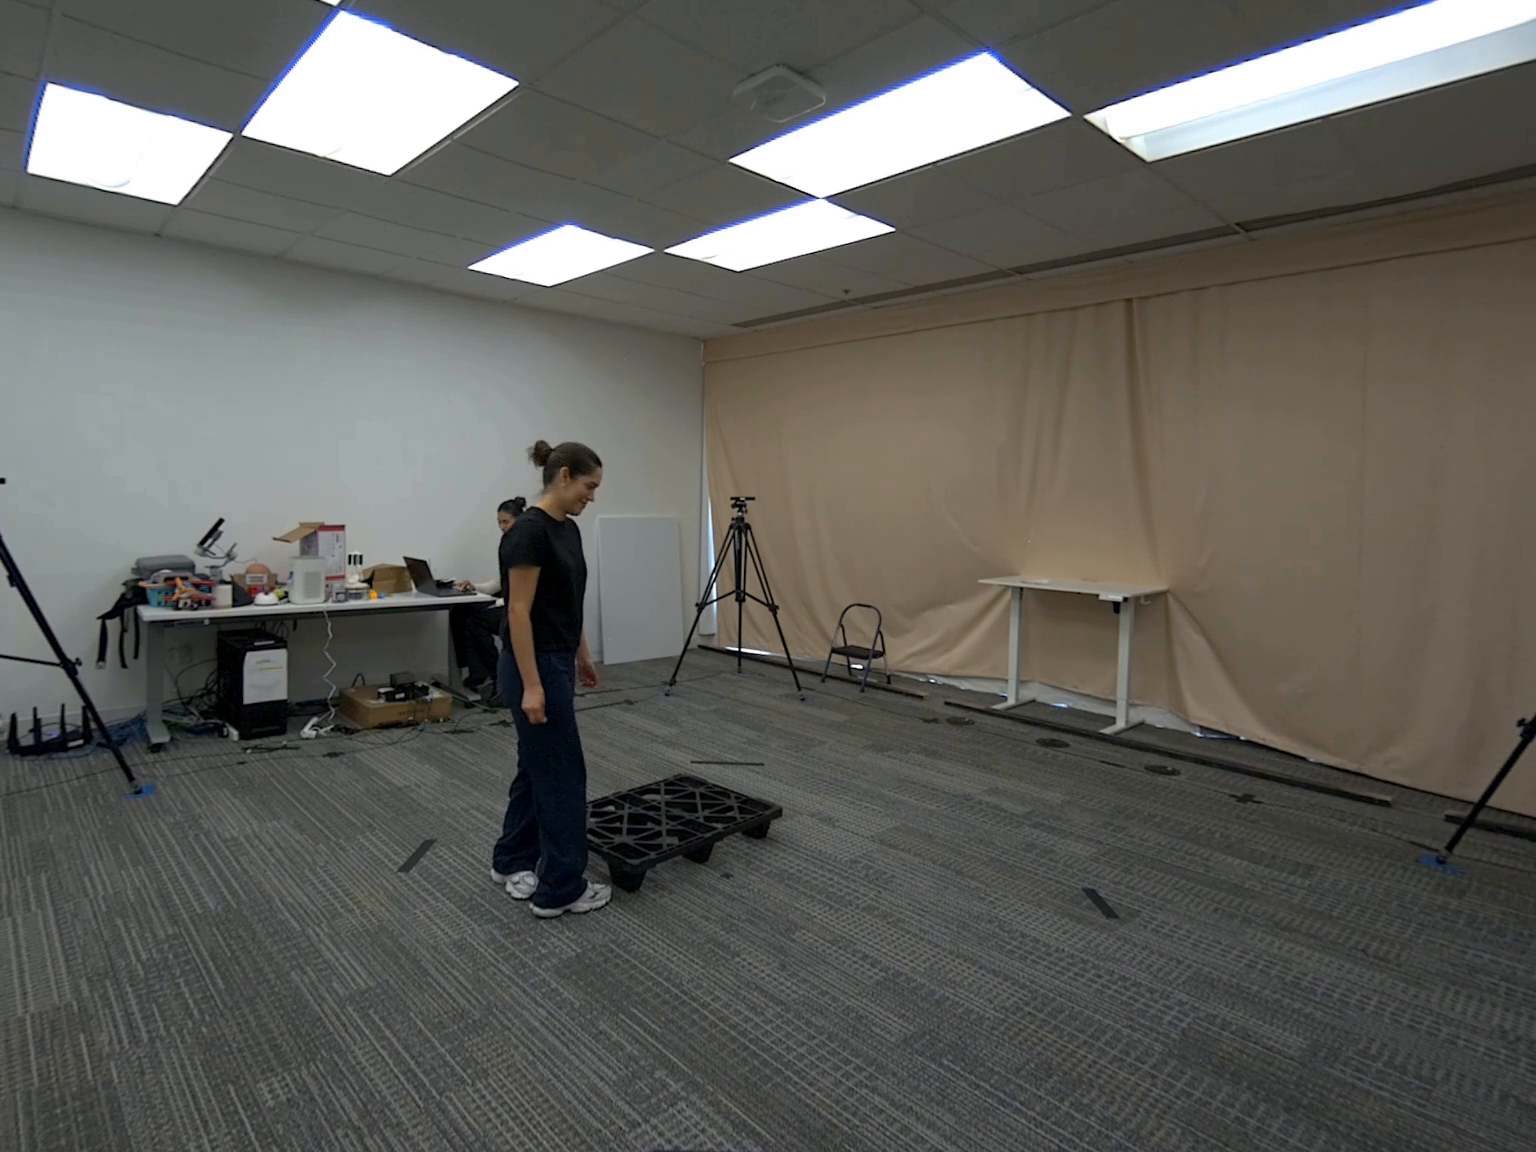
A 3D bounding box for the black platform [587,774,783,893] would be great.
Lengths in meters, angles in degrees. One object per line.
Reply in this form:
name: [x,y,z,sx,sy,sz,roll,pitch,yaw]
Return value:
black platform: [-0.429,1.015,3.354,0.620,0.143,0.787,5,6,42]
